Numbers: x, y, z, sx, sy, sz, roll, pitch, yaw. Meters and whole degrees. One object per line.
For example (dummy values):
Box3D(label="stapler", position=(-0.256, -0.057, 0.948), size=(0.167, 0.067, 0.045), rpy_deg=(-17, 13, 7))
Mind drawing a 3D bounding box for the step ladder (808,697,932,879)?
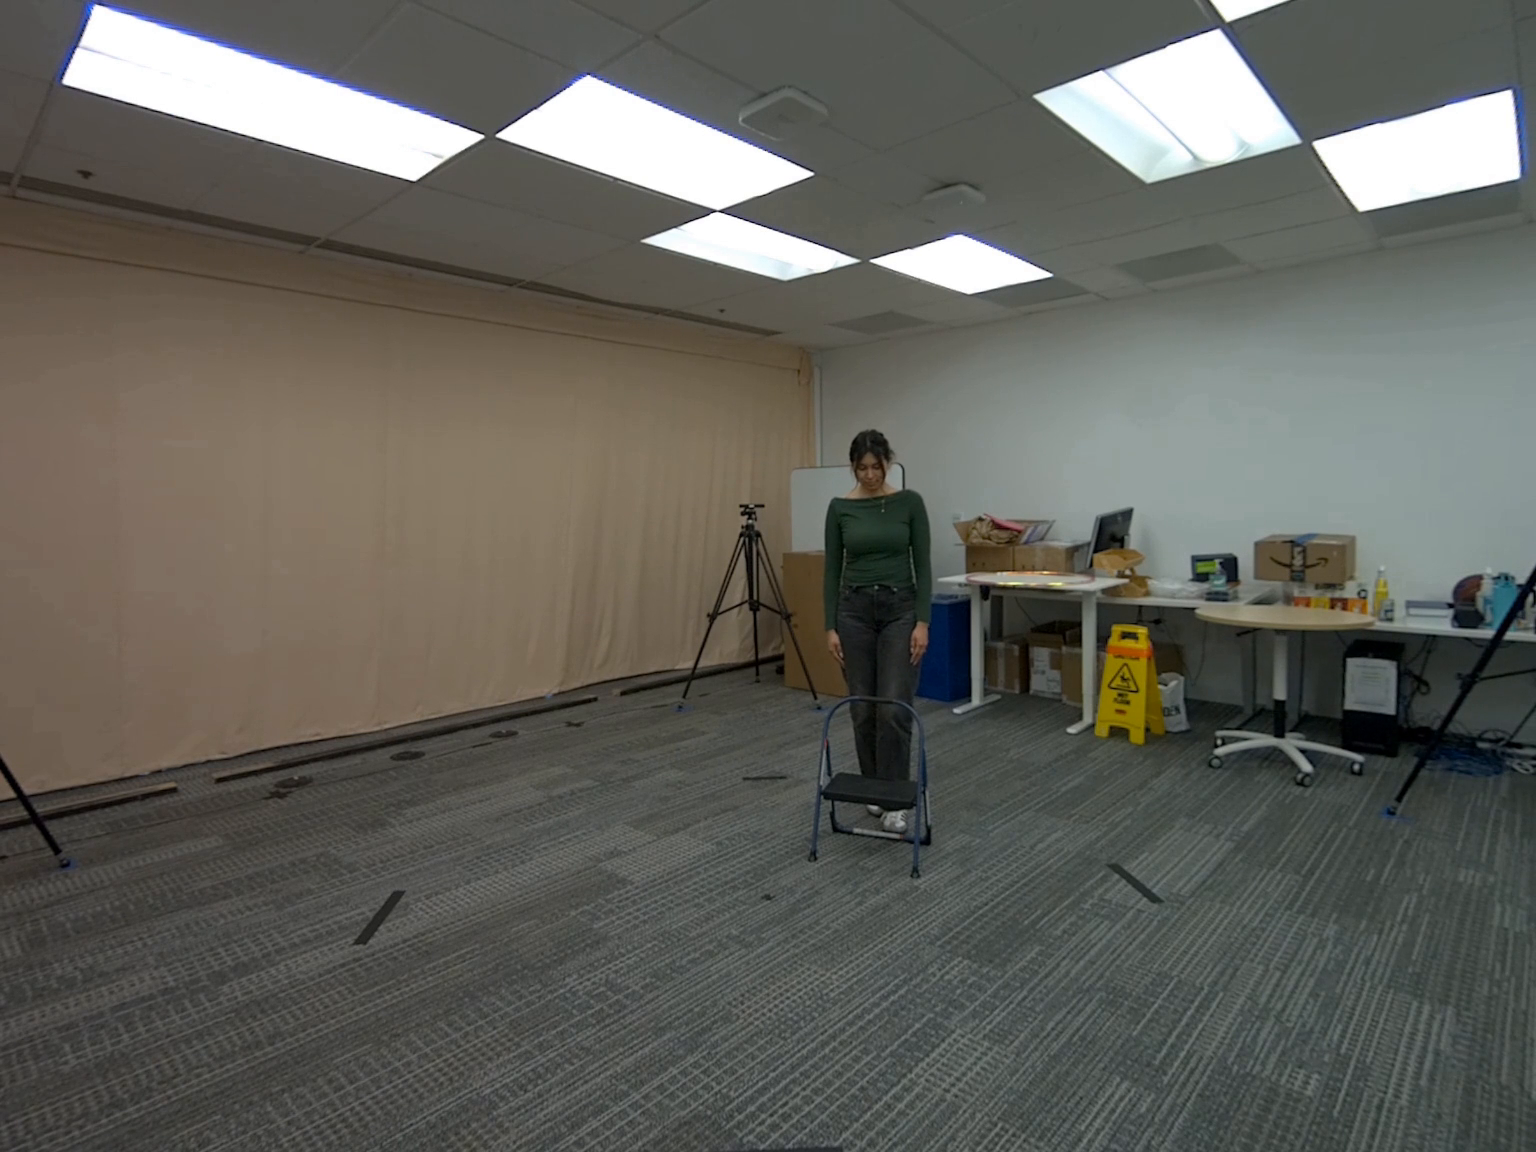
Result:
Box3D(label="step ladder", position=(0.413, 0.797, 3.340), size=(0.440, 0.605, 0.342), rpy_deg=(1, 3, 22))
